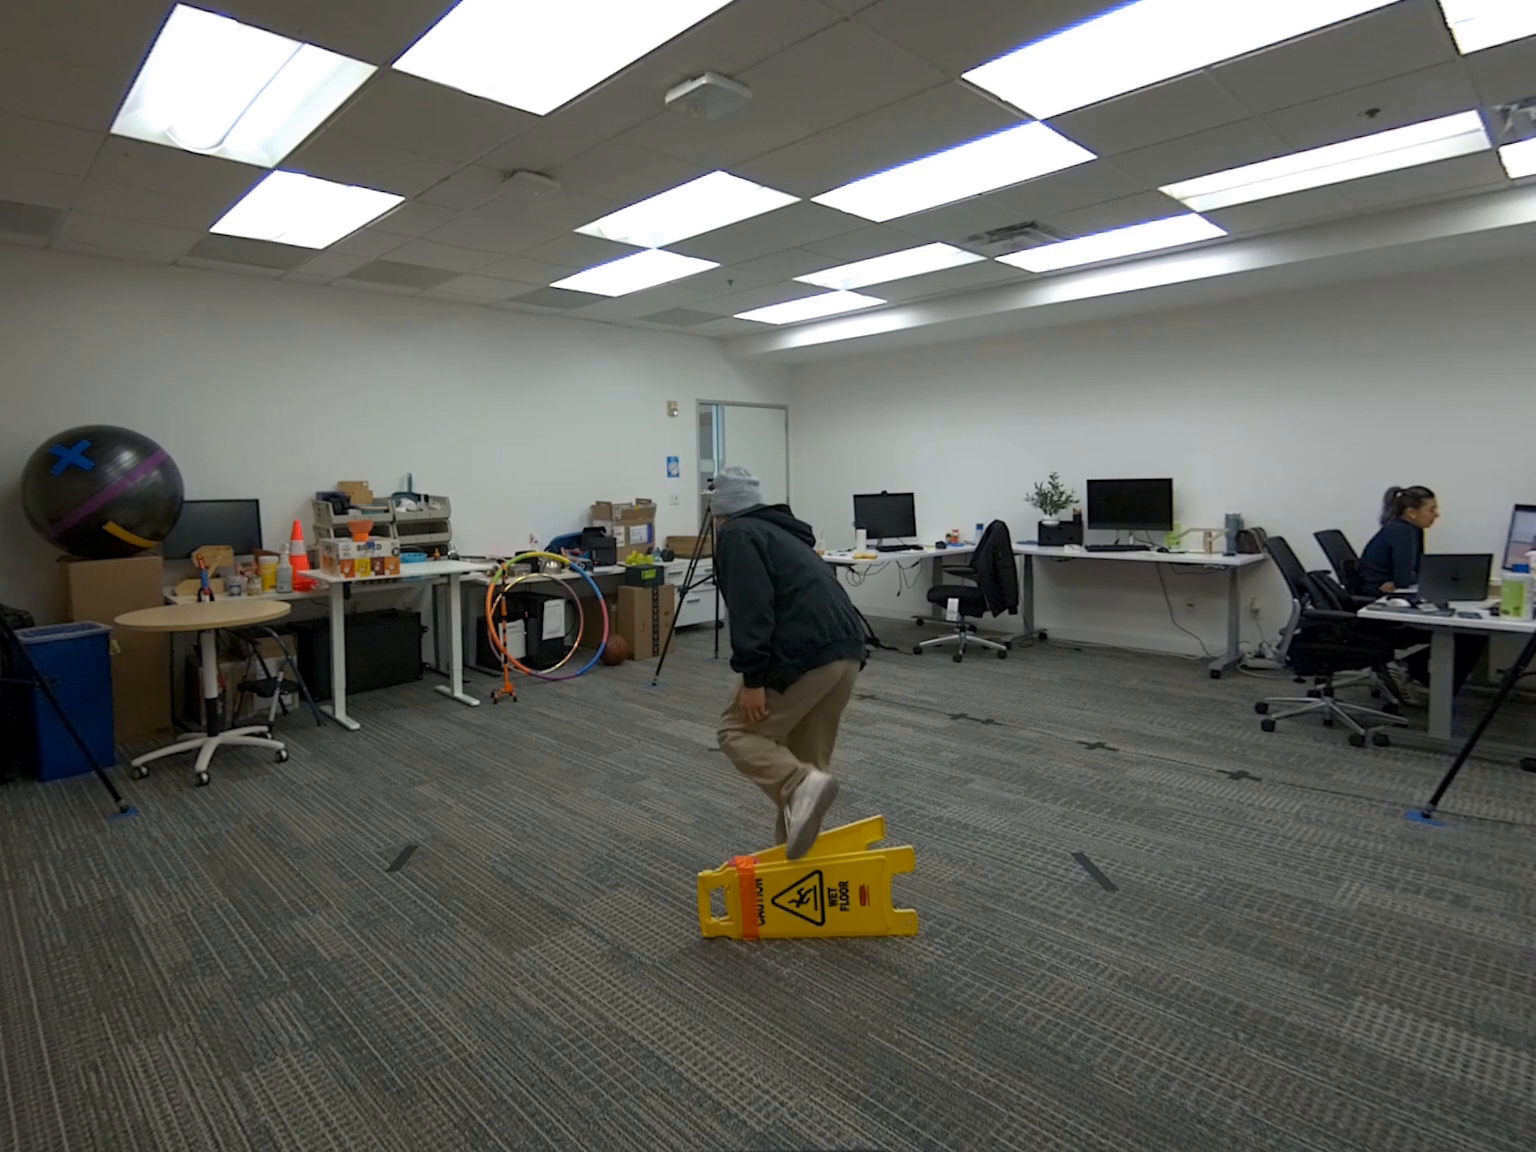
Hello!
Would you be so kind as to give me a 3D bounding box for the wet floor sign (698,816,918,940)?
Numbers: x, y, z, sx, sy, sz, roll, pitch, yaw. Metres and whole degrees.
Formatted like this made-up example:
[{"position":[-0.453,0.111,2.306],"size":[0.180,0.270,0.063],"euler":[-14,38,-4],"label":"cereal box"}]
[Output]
[{"position":[0.112,0.971,2.643],"size":[0.640,0.281,0.294],"euler":[-6,6,-11],"label":"wet floor sign"}]
